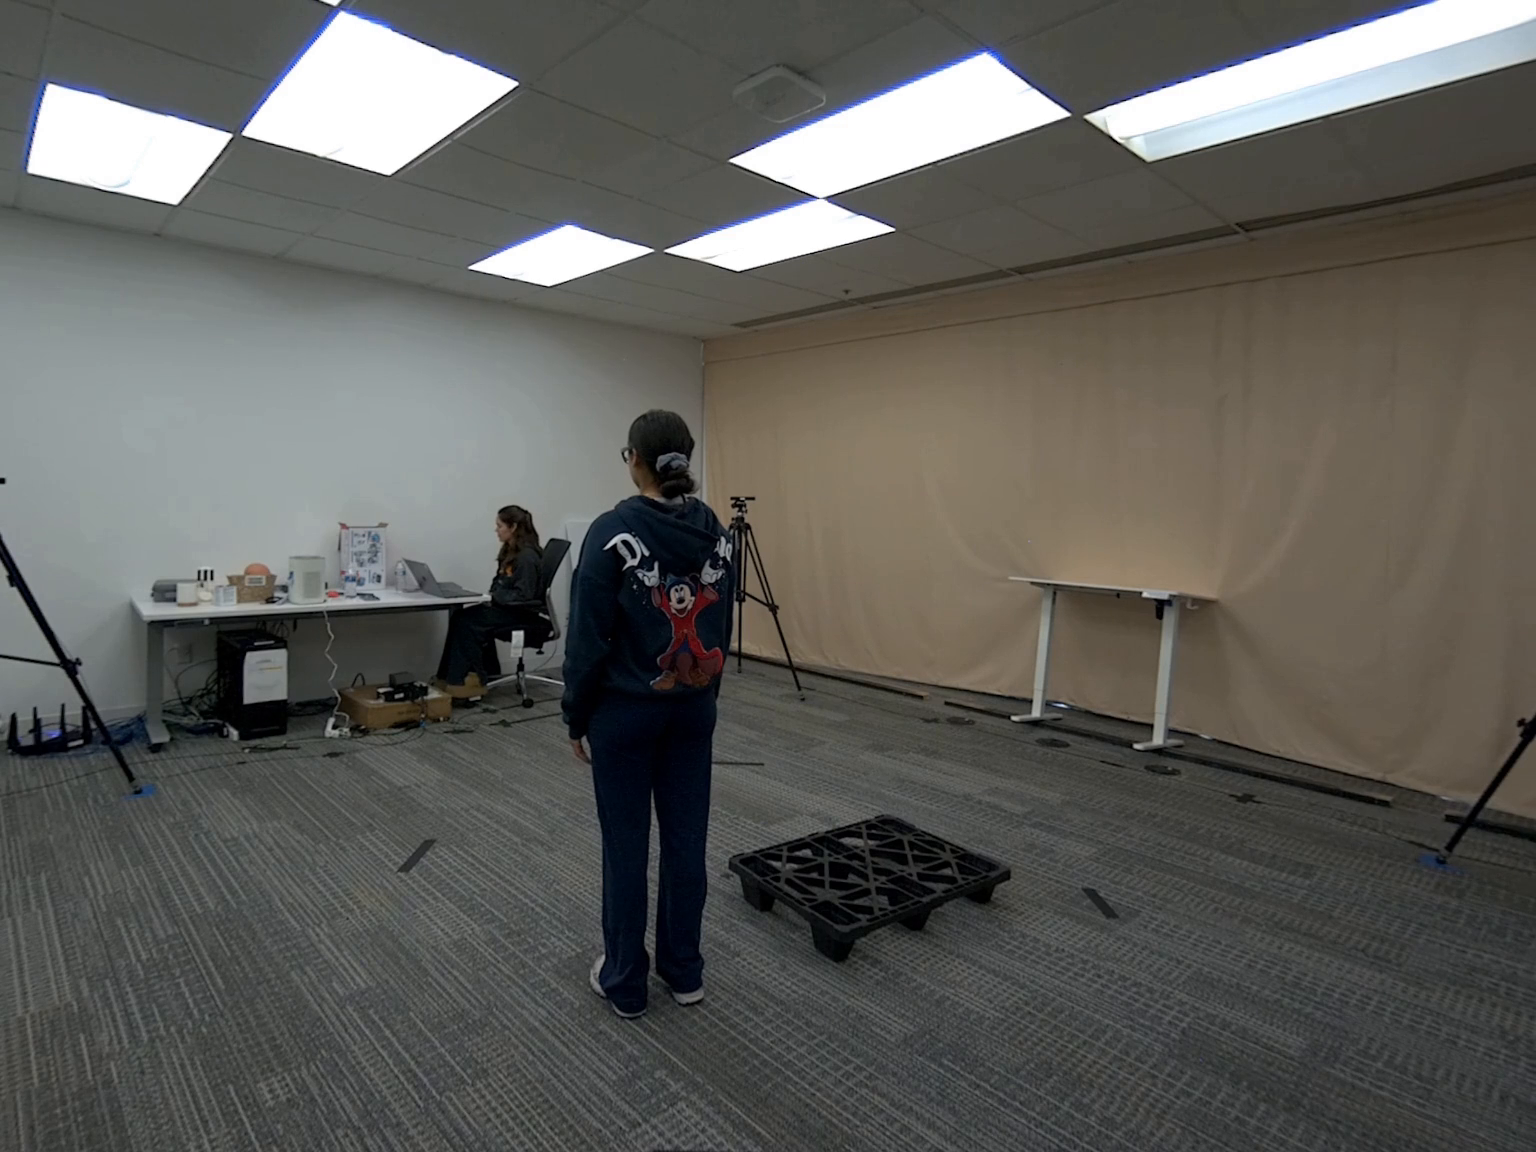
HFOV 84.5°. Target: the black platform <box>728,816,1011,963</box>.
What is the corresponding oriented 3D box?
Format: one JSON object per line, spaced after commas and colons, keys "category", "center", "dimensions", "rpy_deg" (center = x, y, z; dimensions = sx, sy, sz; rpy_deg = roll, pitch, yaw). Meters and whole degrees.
{"category": "black platform", "center": [0.341, 1.066, 2.935], "dimensions": [0.788, 0.143, 0.620], "rpy_deg": [-2, 6, -37]}
